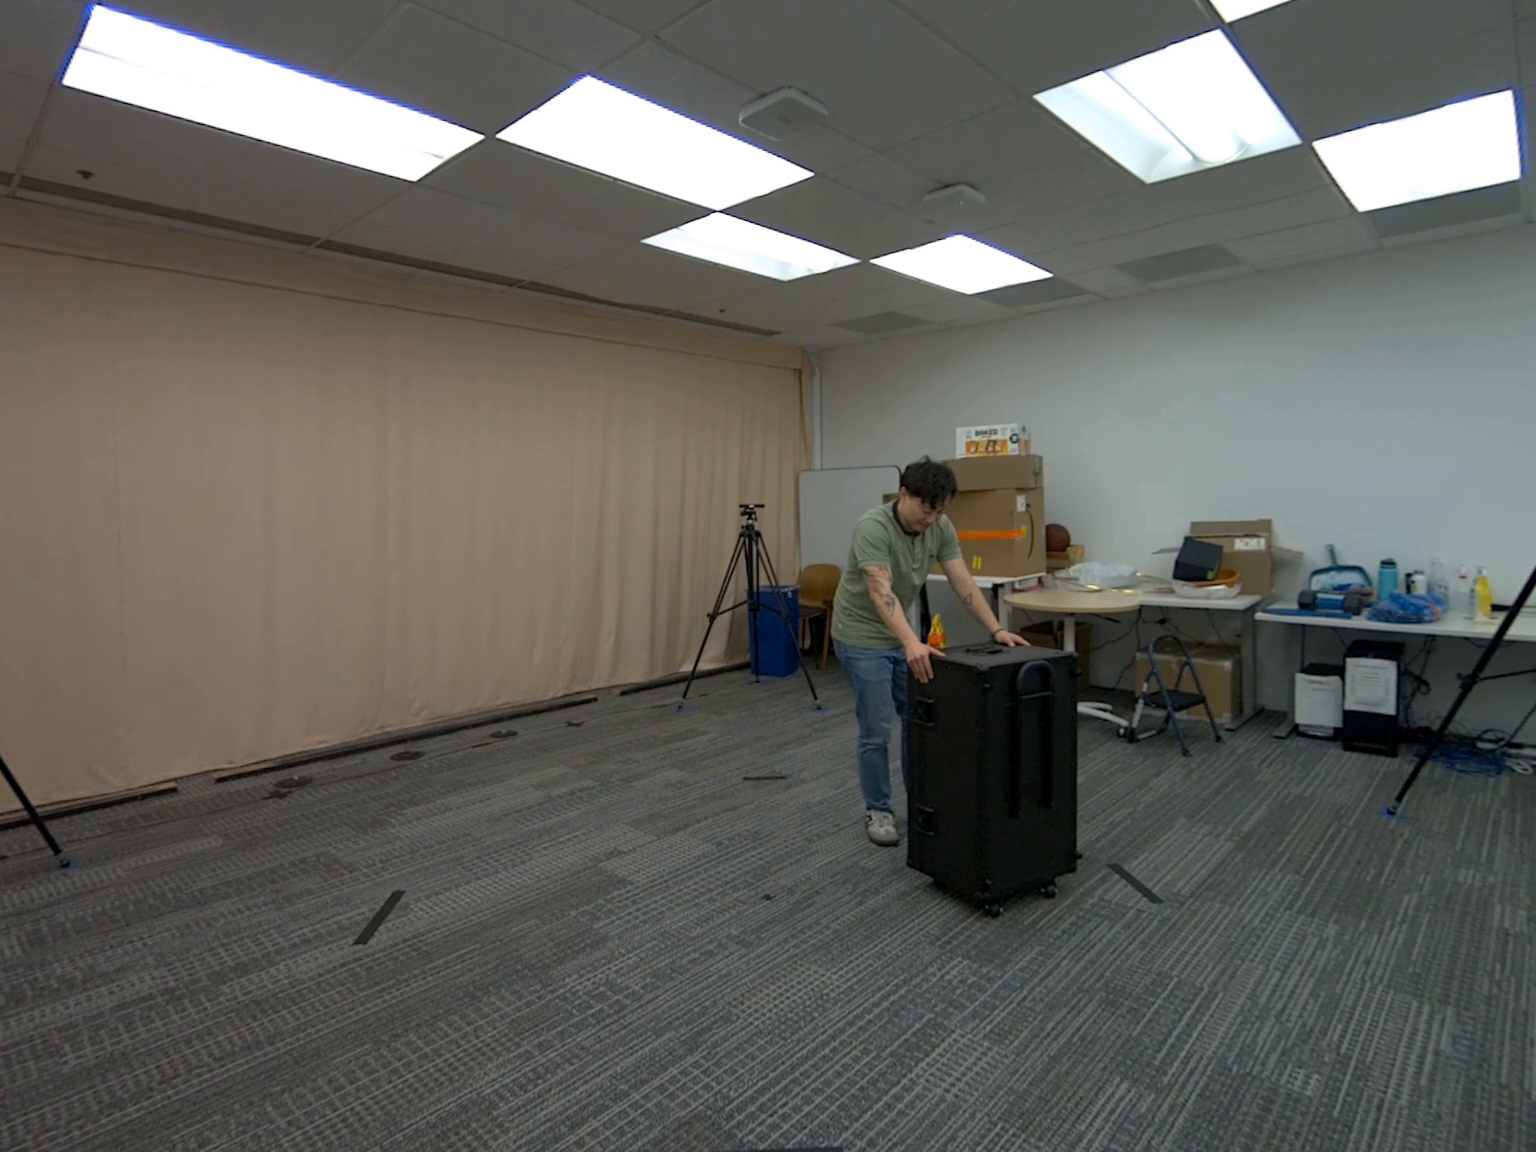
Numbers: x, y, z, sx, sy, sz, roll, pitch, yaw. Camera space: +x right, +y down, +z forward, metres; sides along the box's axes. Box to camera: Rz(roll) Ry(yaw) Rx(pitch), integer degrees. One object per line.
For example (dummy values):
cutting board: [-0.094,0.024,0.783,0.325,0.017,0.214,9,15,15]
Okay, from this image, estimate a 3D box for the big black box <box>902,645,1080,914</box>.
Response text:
big black box: [0.820,0.699,2.998,0.507,0.859,0.408,-2,5,-32]
